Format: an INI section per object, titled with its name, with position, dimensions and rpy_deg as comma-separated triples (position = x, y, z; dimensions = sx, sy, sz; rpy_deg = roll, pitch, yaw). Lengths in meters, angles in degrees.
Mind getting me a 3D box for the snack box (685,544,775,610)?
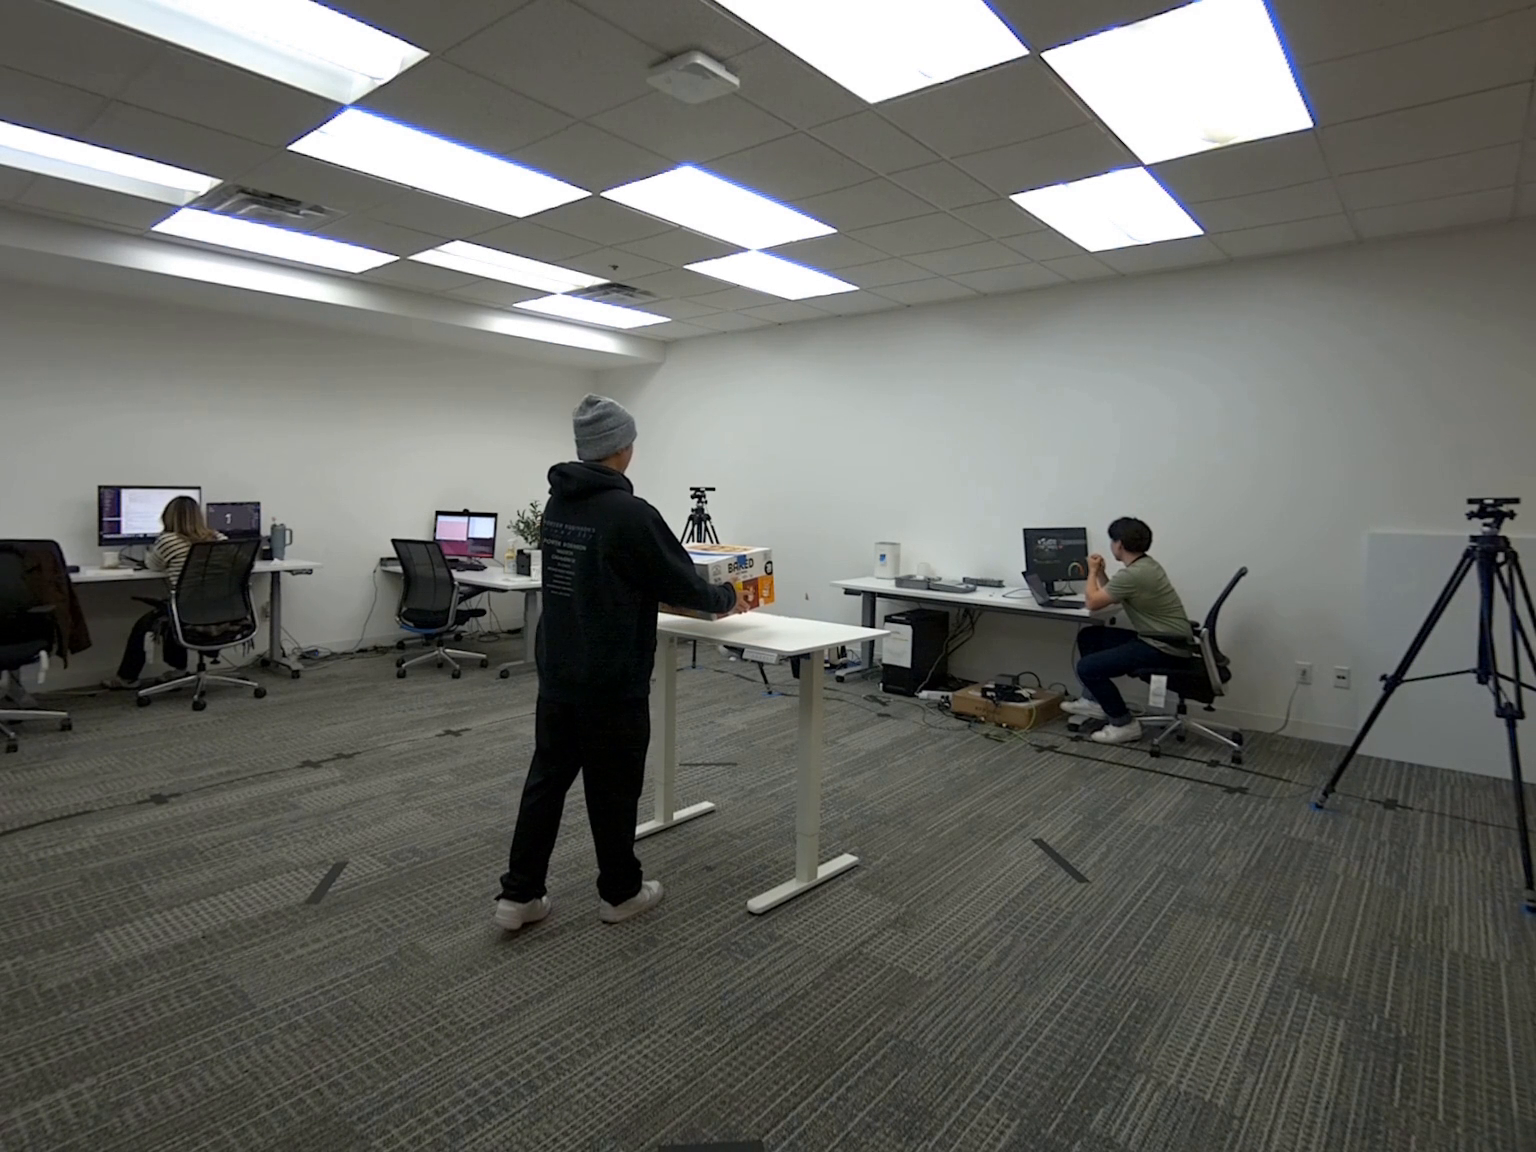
[snack box]
position = -0.255, 0.010, 3.121
dimensions = 0.419, 0.204, 0.332
rpy_deg = 5, 12, 41
